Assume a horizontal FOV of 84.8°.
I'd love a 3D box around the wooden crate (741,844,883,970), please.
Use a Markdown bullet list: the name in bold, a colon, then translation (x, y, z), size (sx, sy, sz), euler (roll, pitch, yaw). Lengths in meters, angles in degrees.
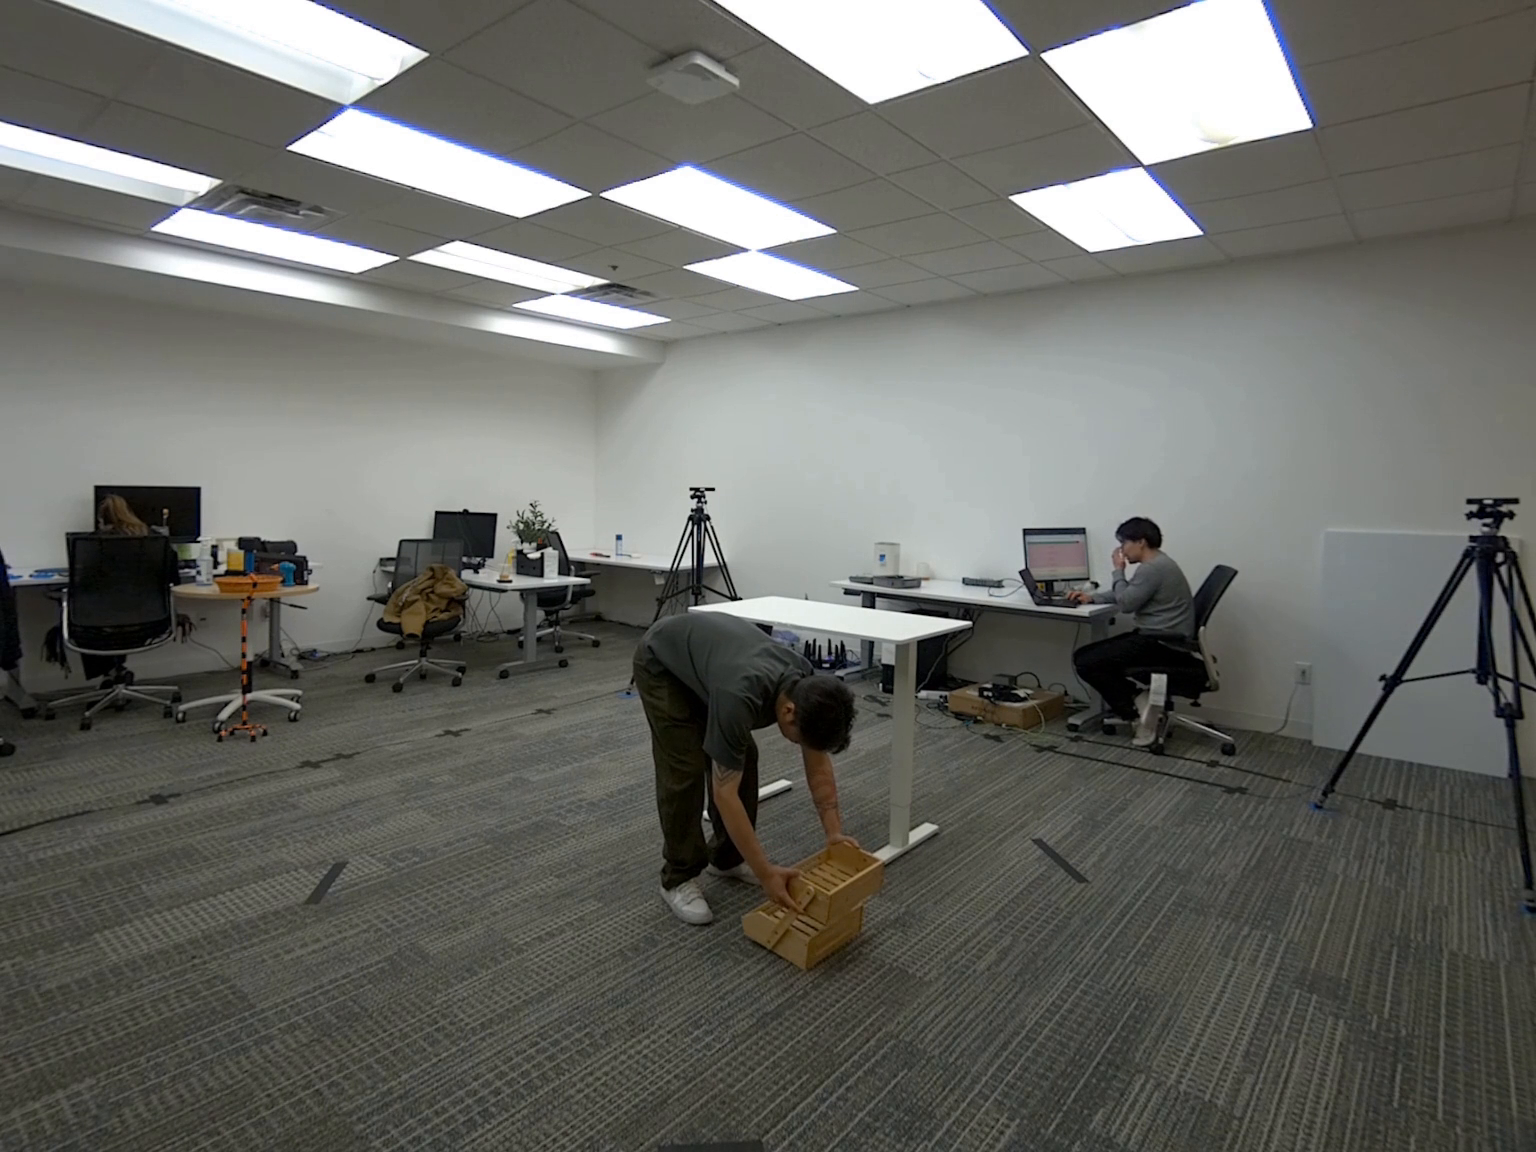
- **wooden crate**: translation (0.135, 0.979, 2.616), size (0.313, 0.271, 0.315), euler (13, 11, 39)
